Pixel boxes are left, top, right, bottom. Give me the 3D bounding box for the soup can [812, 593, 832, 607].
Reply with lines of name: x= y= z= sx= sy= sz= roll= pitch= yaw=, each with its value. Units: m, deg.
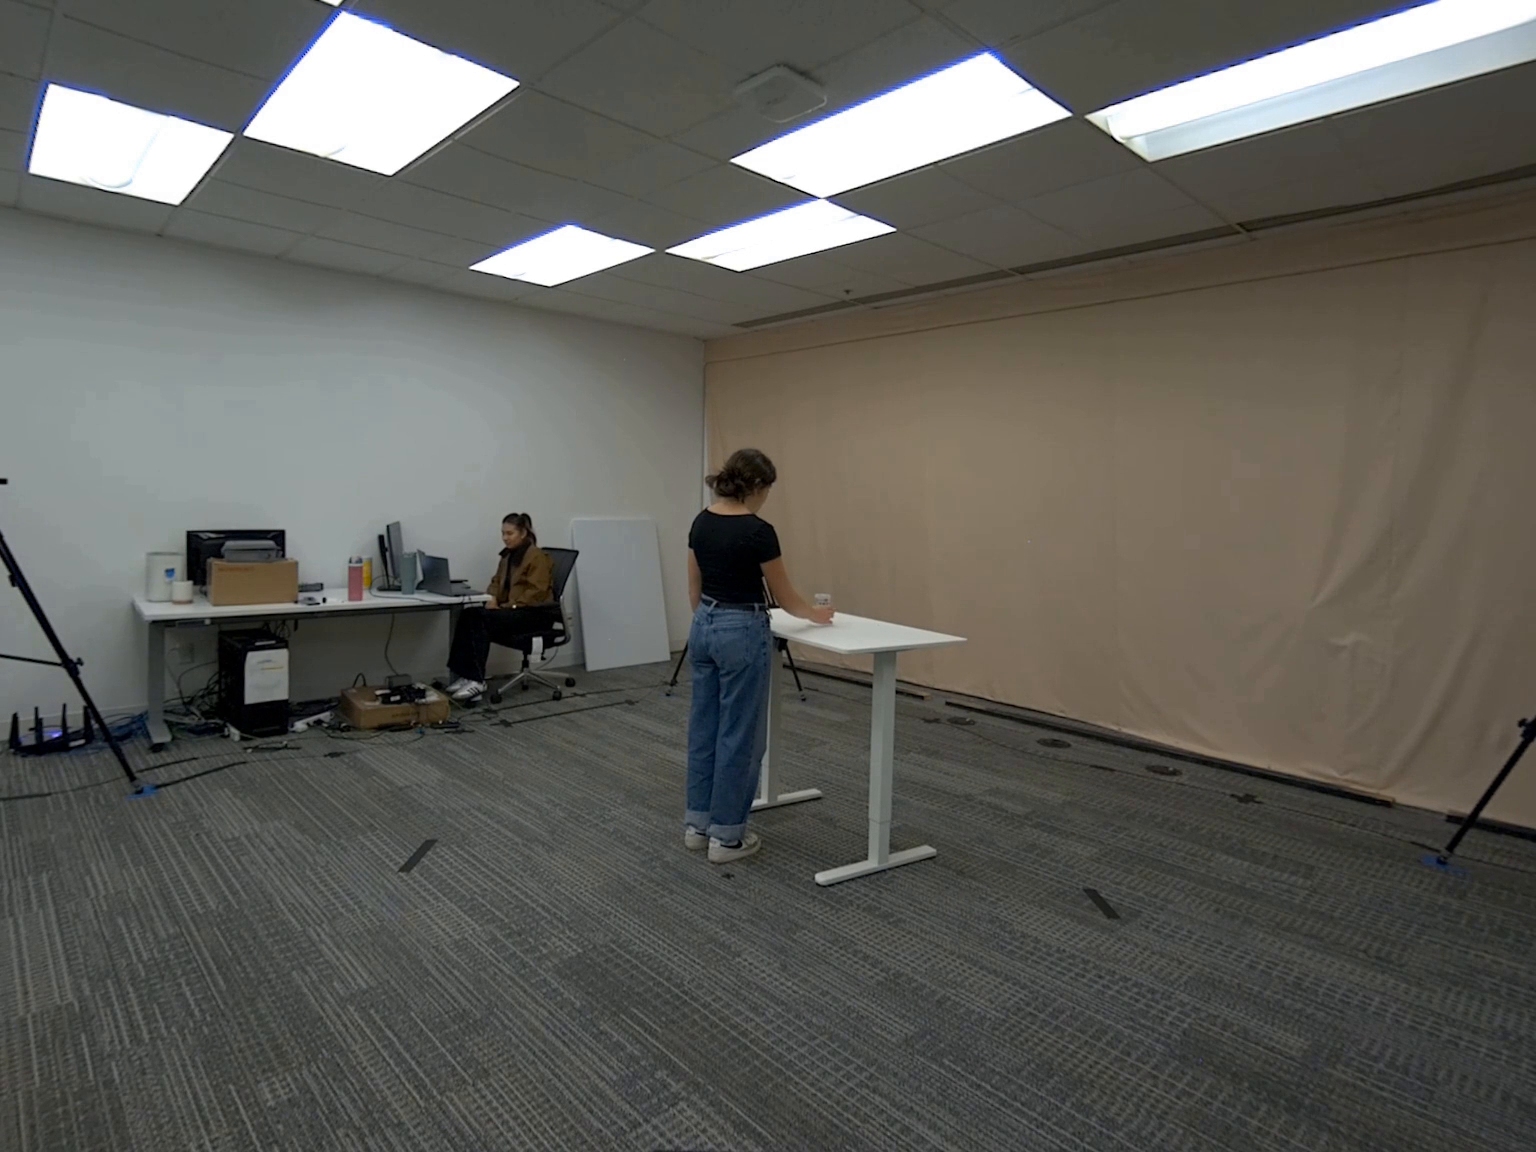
soup can: x=0.227 y=0.142 z=3.536 sx=0.067 sy=0.121 sz=0.067 roll=0 pitch=0 yaw=-1
